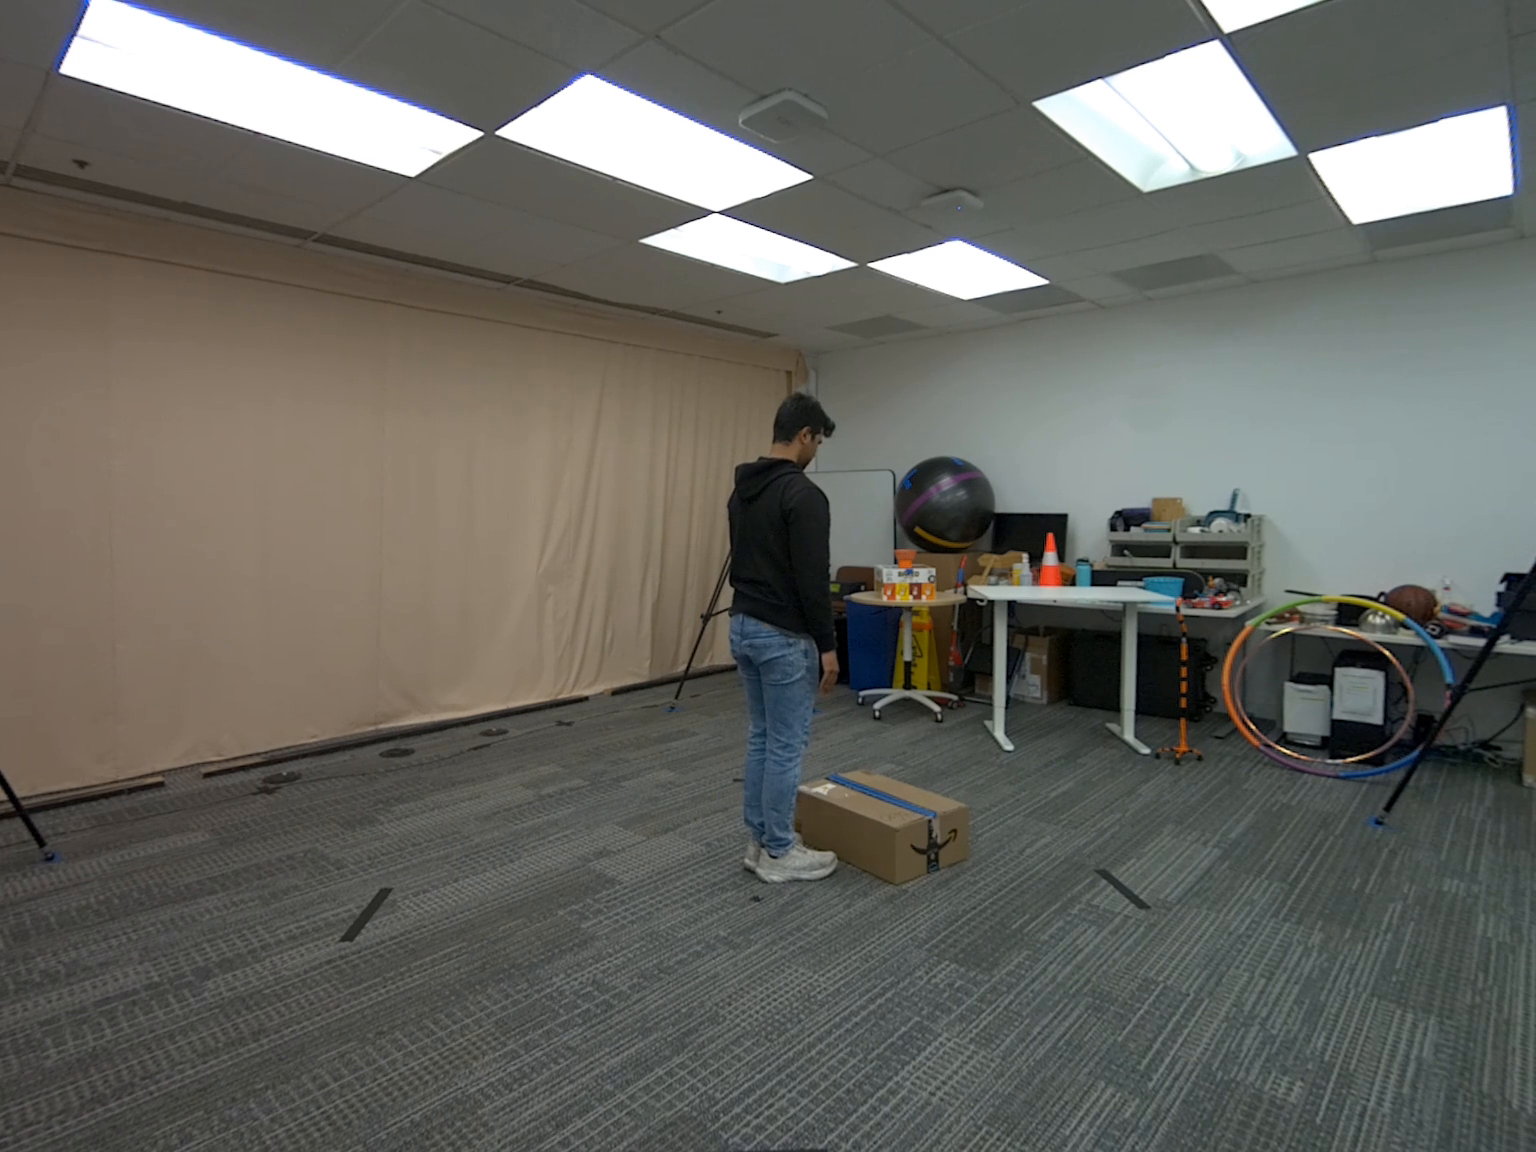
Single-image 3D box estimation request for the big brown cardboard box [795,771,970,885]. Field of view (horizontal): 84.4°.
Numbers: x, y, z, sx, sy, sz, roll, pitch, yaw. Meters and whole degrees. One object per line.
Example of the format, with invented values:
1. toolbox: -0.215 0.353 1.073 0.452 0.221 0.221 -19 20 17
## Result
1. big brown cardboard box: 0.447 0.994 3.422 0.405 0.232 0.608 -3 6 -38
